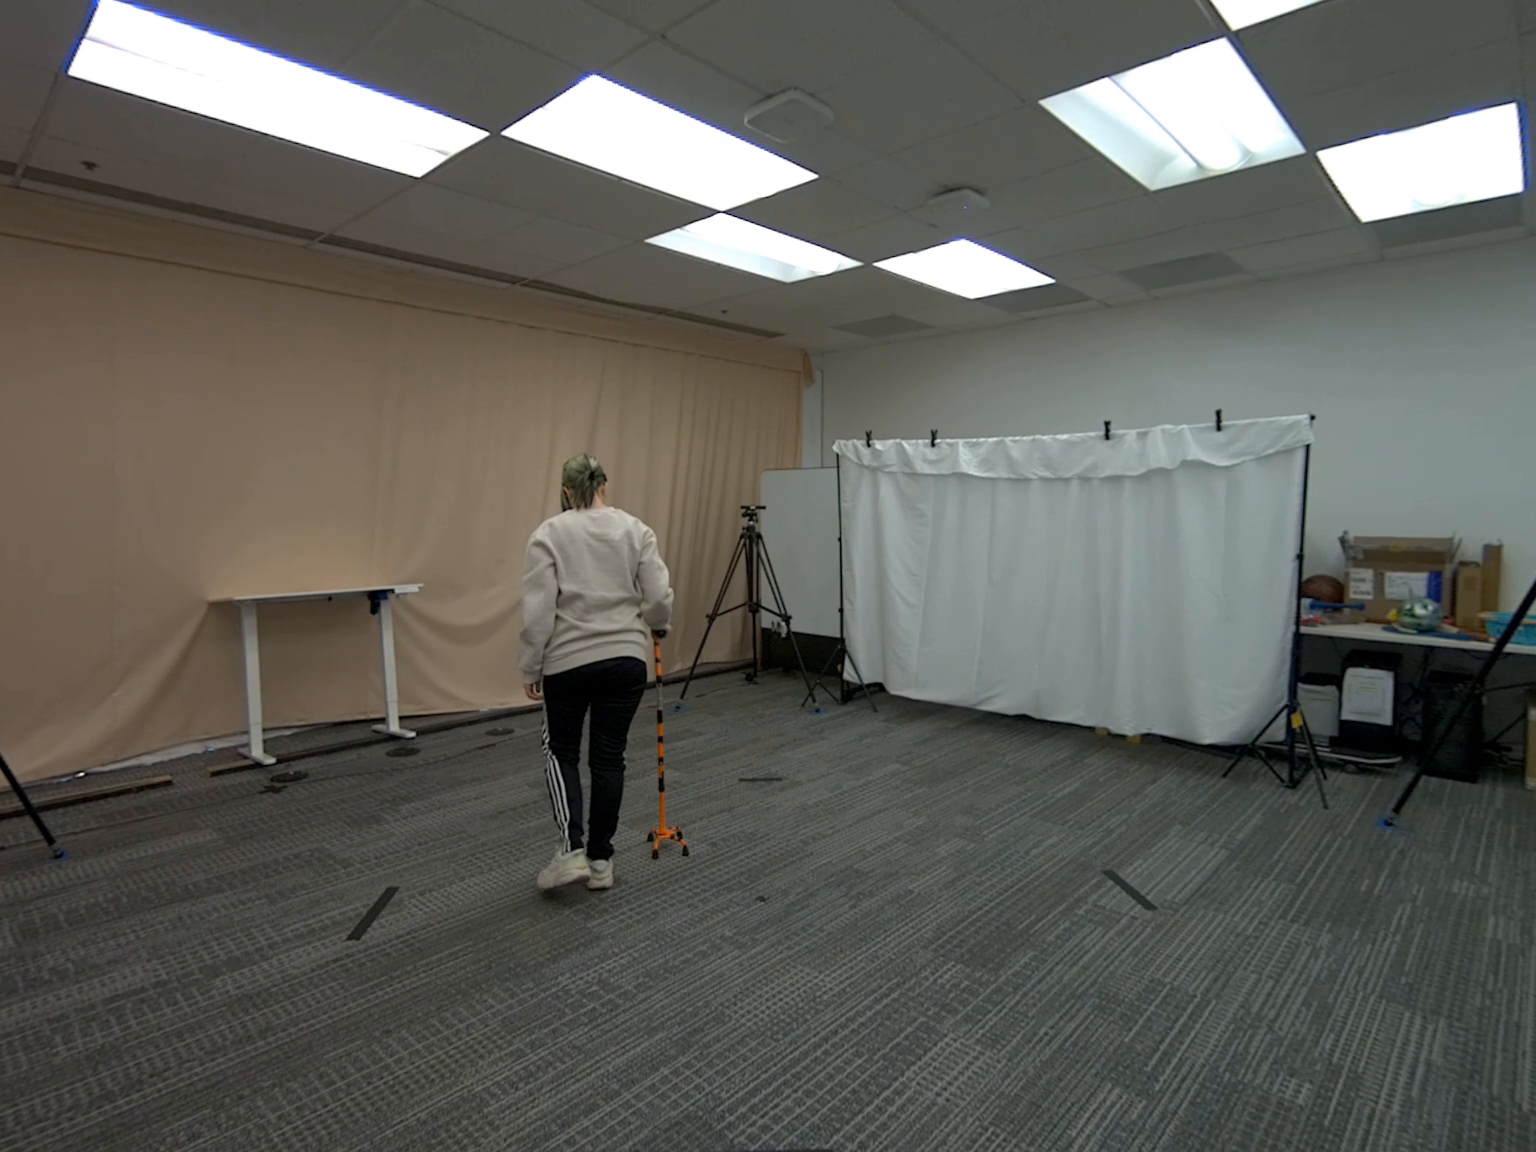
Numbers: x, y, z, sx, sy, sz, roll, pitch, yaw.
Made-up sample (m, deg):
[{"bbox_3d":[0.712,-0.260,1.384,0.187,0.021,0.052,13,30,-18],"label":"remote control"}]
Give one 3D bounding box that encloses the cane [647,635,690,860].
[{"bbox_3d":[-0.415,0.660,3.416,0.149,0.907,0.209,-1,2,-14],"label":"cane"}]
